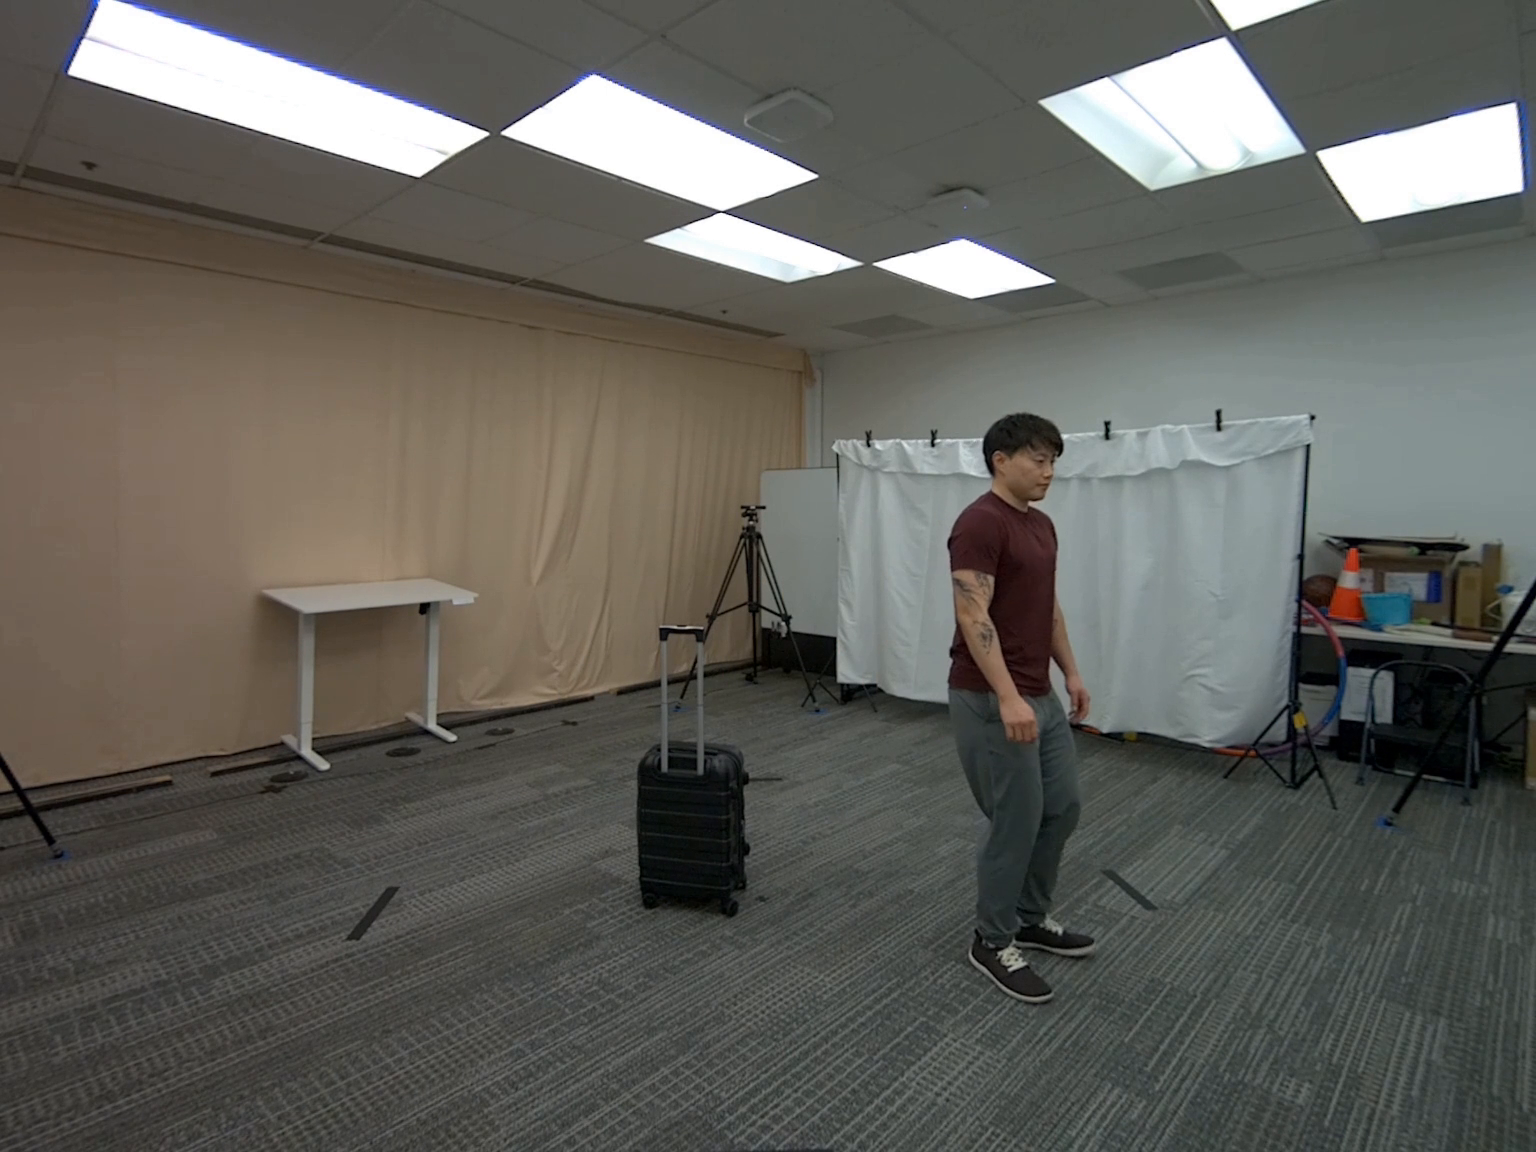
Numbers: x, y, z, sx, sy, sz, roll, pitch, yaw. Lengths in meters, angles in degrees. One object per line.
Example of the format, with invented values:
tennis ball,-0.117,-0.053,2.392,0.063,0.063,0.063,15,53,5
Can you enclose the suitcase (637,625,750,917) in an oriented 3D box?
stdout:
suitcase,-0.271,0.667,2.976,0.390,0.978,0.253,0,1,14
